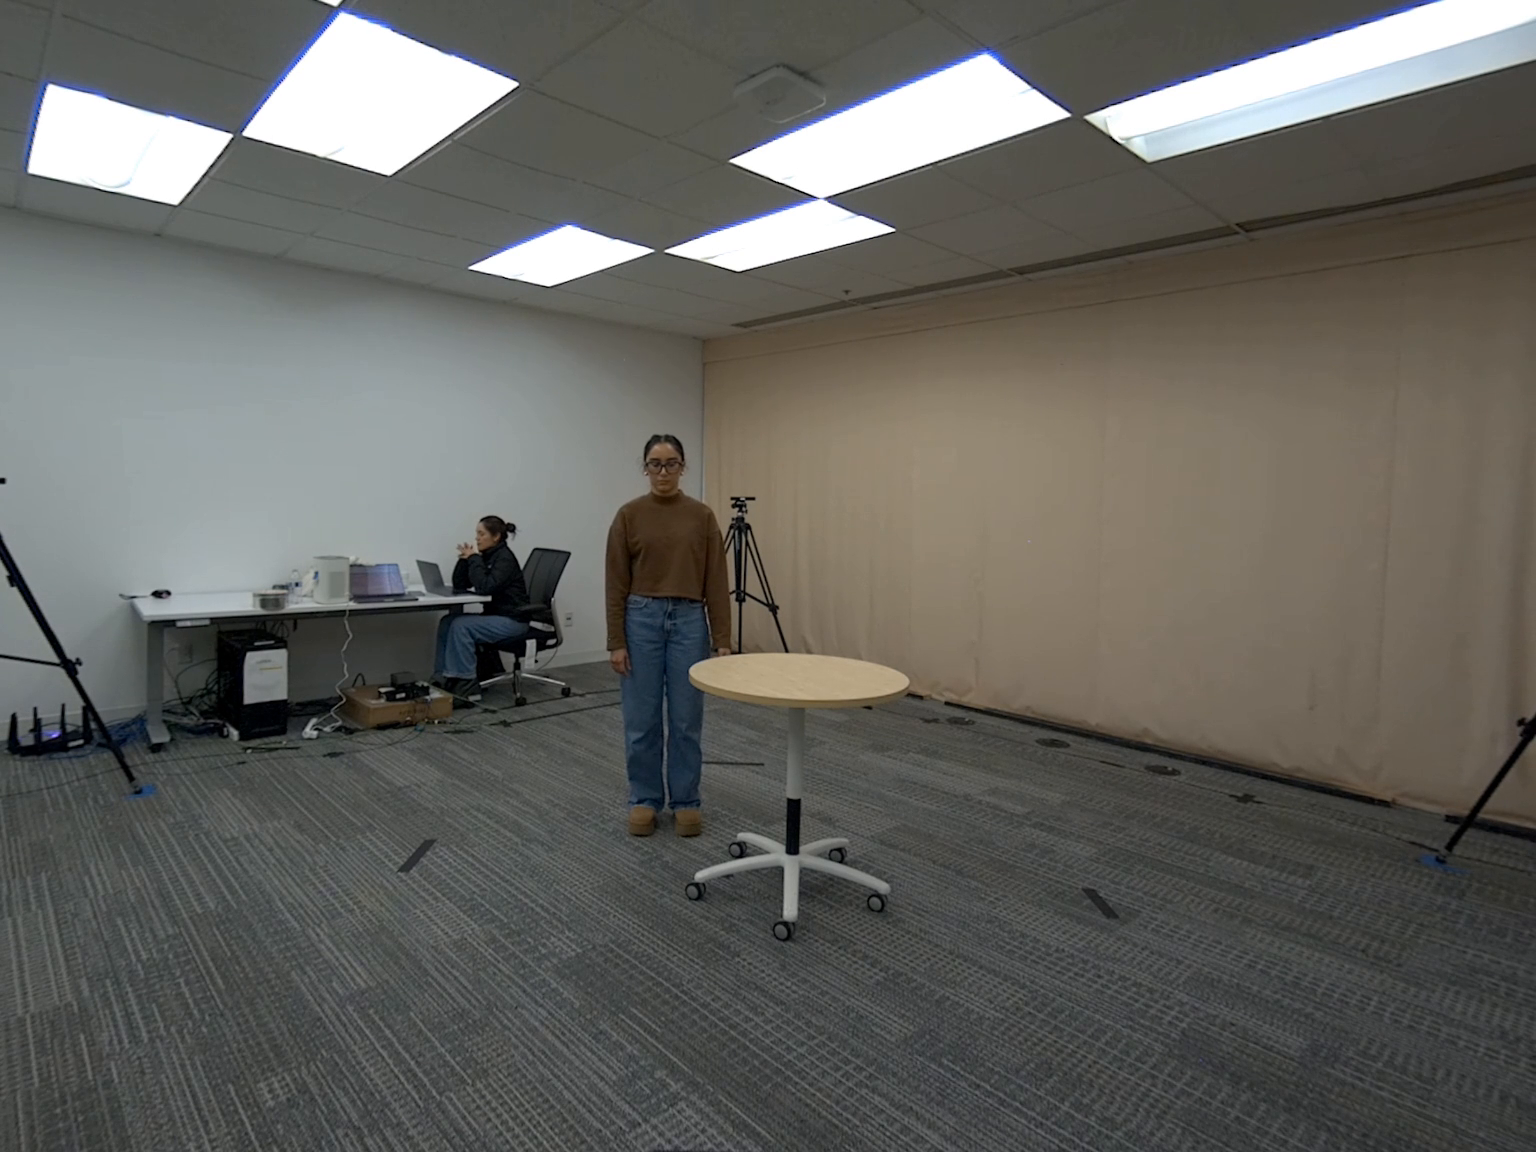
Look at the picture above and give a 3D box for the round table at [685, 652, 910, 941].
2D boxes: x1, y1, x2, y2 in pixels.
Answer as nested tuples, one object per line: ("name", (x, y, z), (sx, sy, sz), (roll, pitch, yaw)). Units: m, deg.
("round table", (0.071, 0.732, 2.970), (0.784, 0.784, 0.788), (2, 4, -2))
